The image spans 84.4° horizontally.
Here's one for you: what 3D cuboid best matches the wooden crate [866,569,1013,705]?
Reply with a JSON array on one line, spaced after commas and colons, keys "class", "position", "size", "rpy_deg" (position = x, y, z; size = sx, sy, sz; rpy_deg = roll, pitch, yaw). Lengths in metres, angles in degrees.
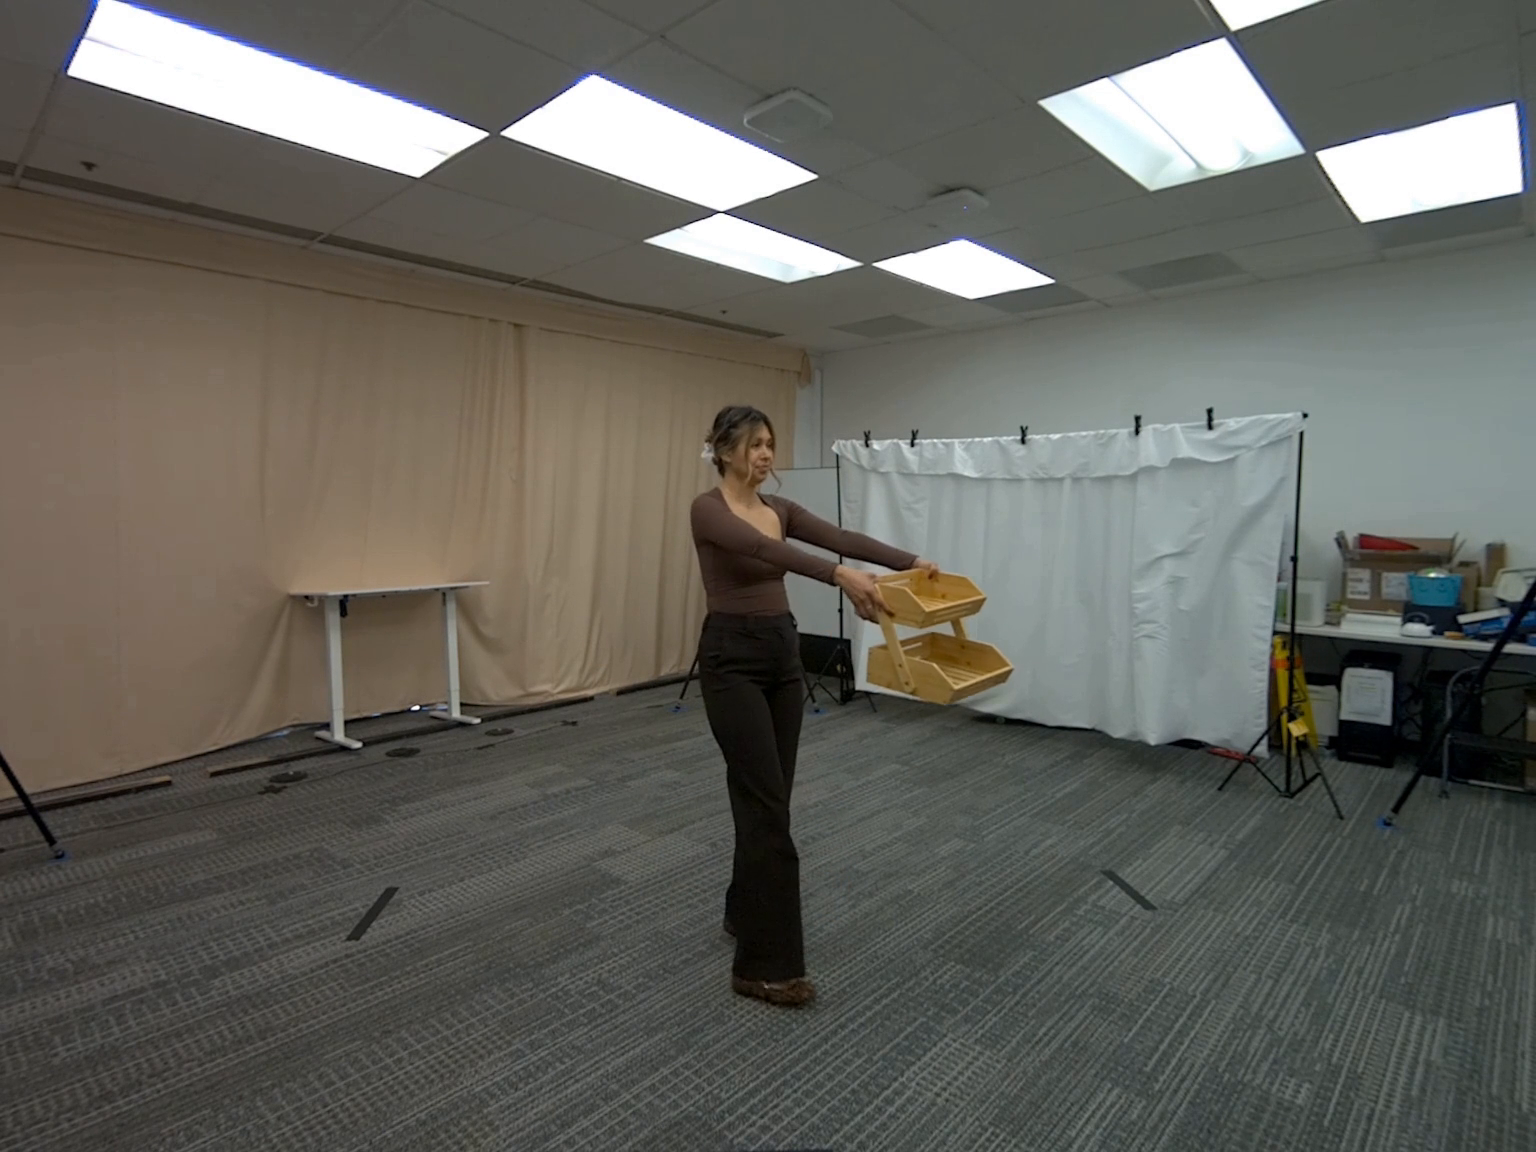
[{"class": "wooden crate", "position": [0.443, 0.143, 2.159], "size": [0.313, 0.272, 0.315], "rpy_deg": [10, 12, 43]}]
